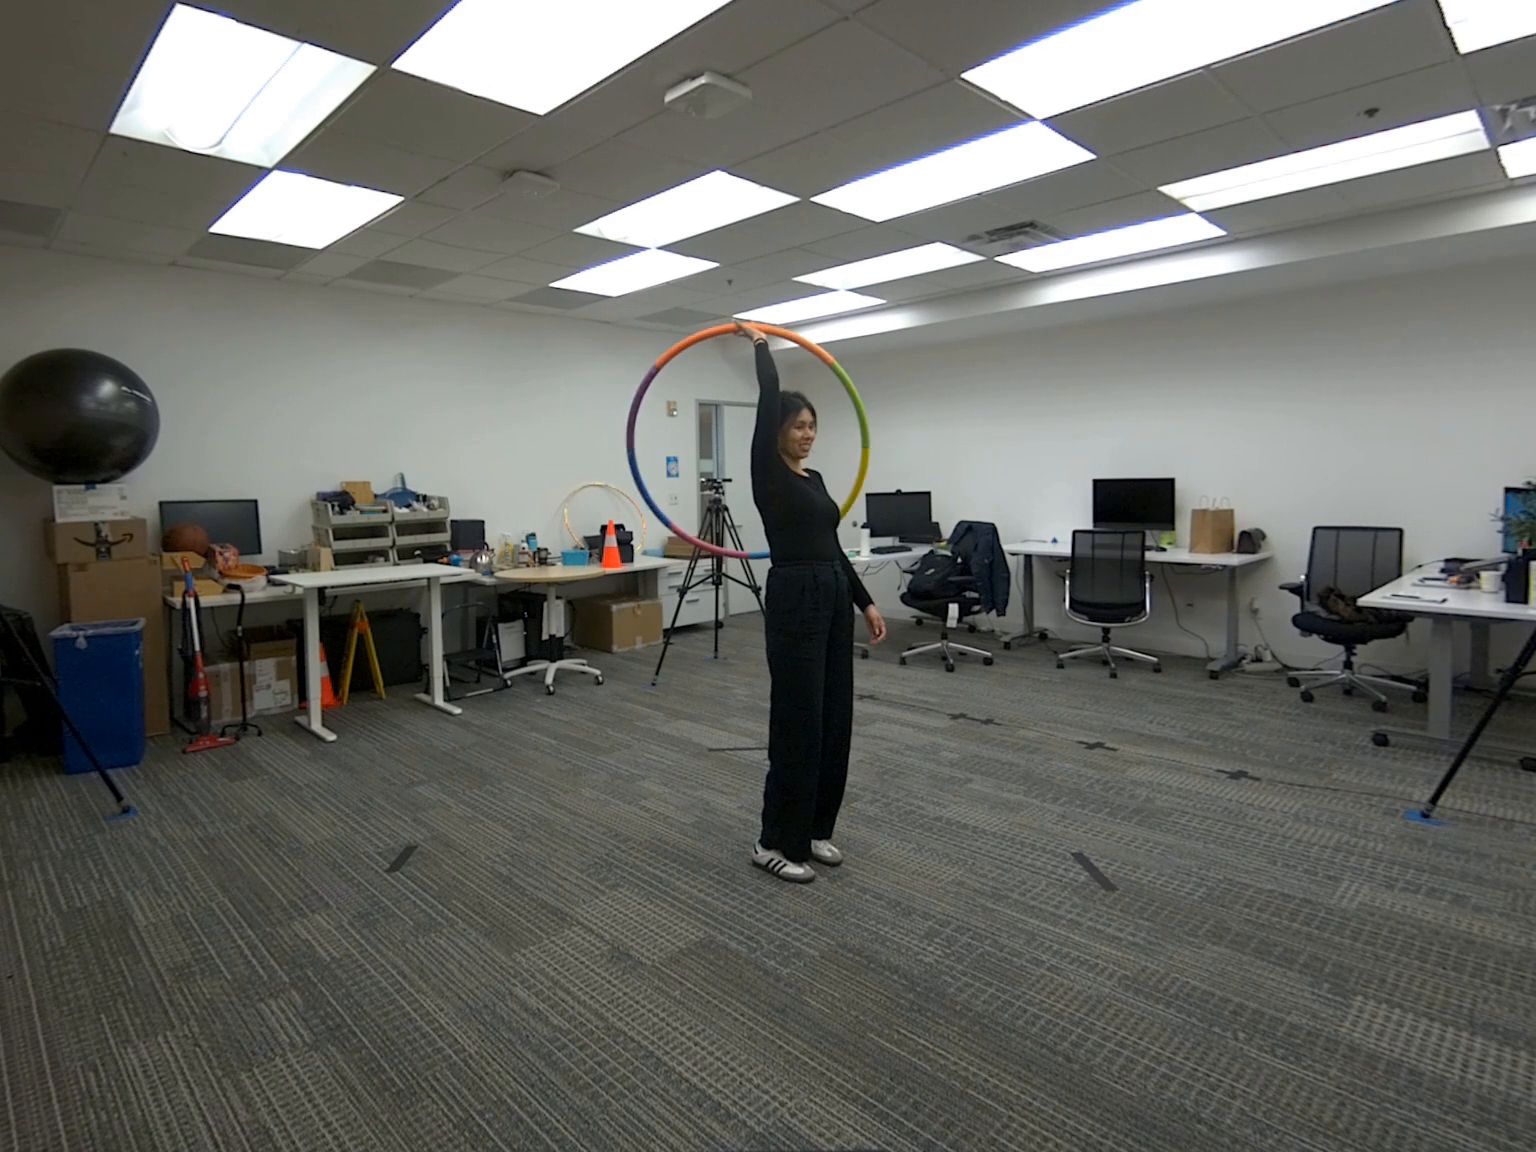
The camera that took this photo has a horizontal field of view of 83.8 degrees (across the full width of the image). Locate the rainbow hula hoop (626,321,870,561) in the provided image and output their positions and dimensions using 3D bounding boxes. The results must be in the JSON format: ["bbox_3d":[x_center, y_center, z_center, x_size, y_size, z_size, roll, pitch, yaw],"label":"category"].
[{"bbox_3d":[-0.080,-0.510,3.424,0.992,0.964,0.052,0,24,7],"label":"rainbow hula hoop"}]
